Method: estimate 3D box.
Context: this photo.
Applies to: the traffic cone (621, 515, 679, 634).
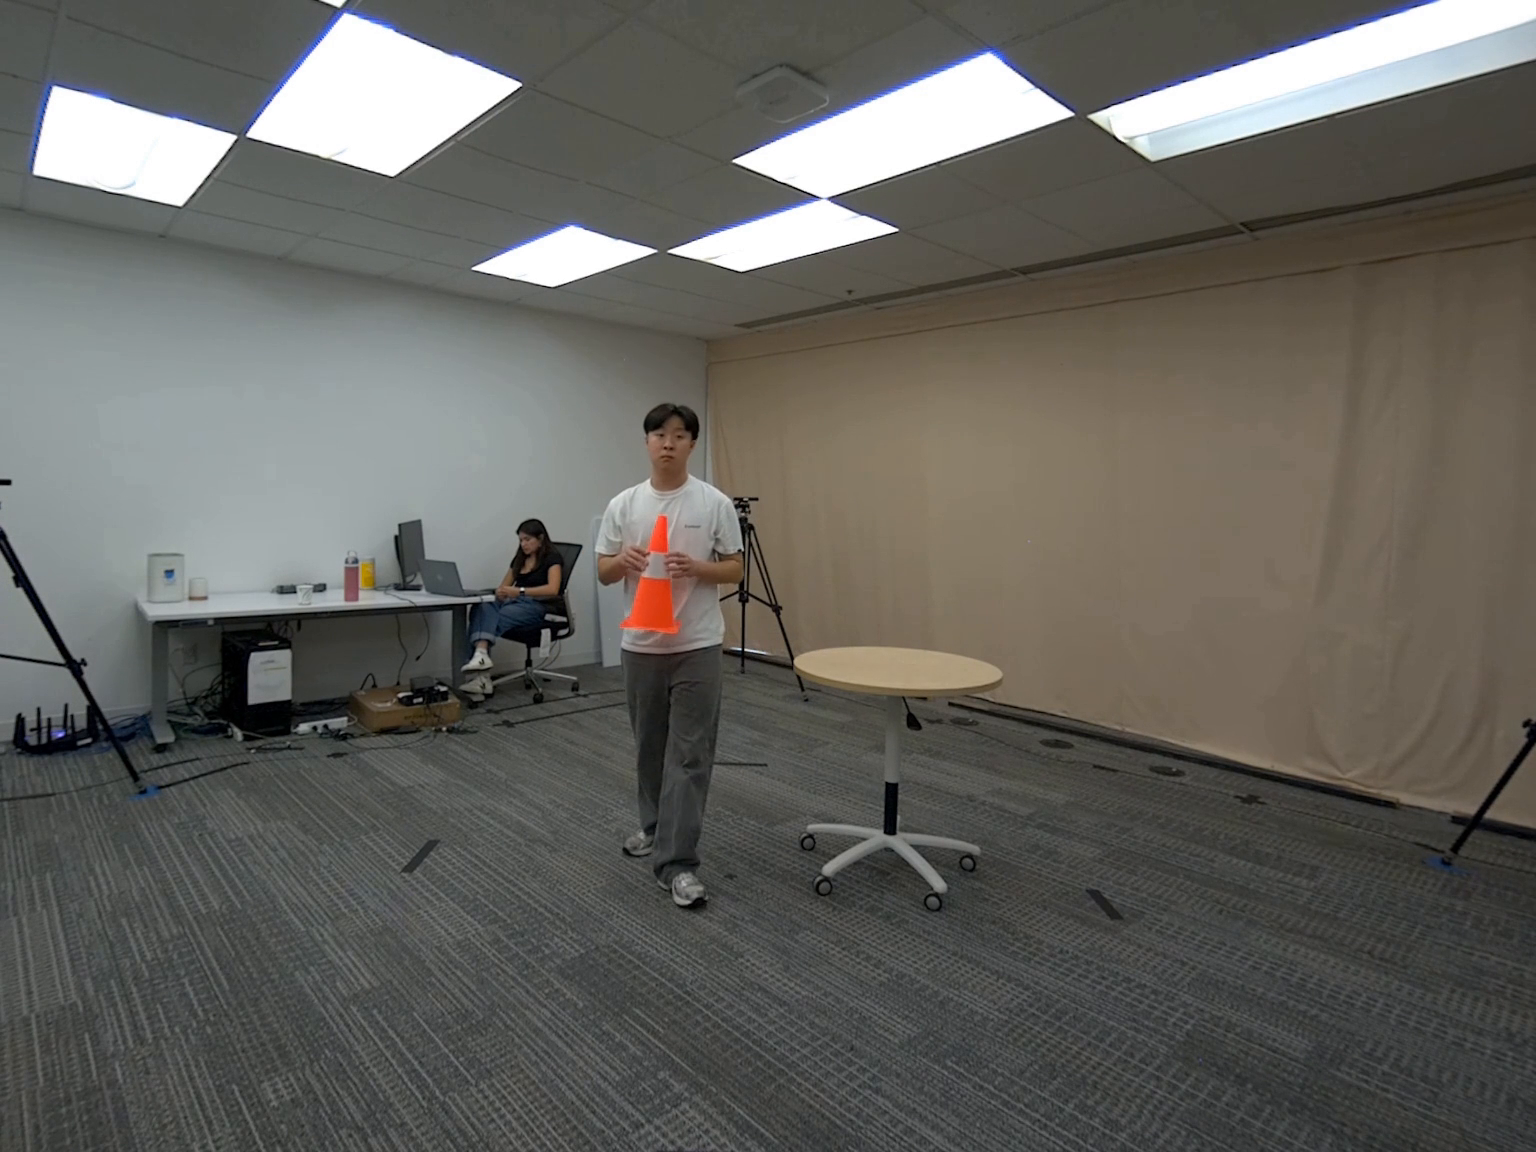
[{"bbox_3d":[-0.402,-0.020,2.885,0.202,0.382,0.207,5,7,-6],"label":"traffic cone"}]
